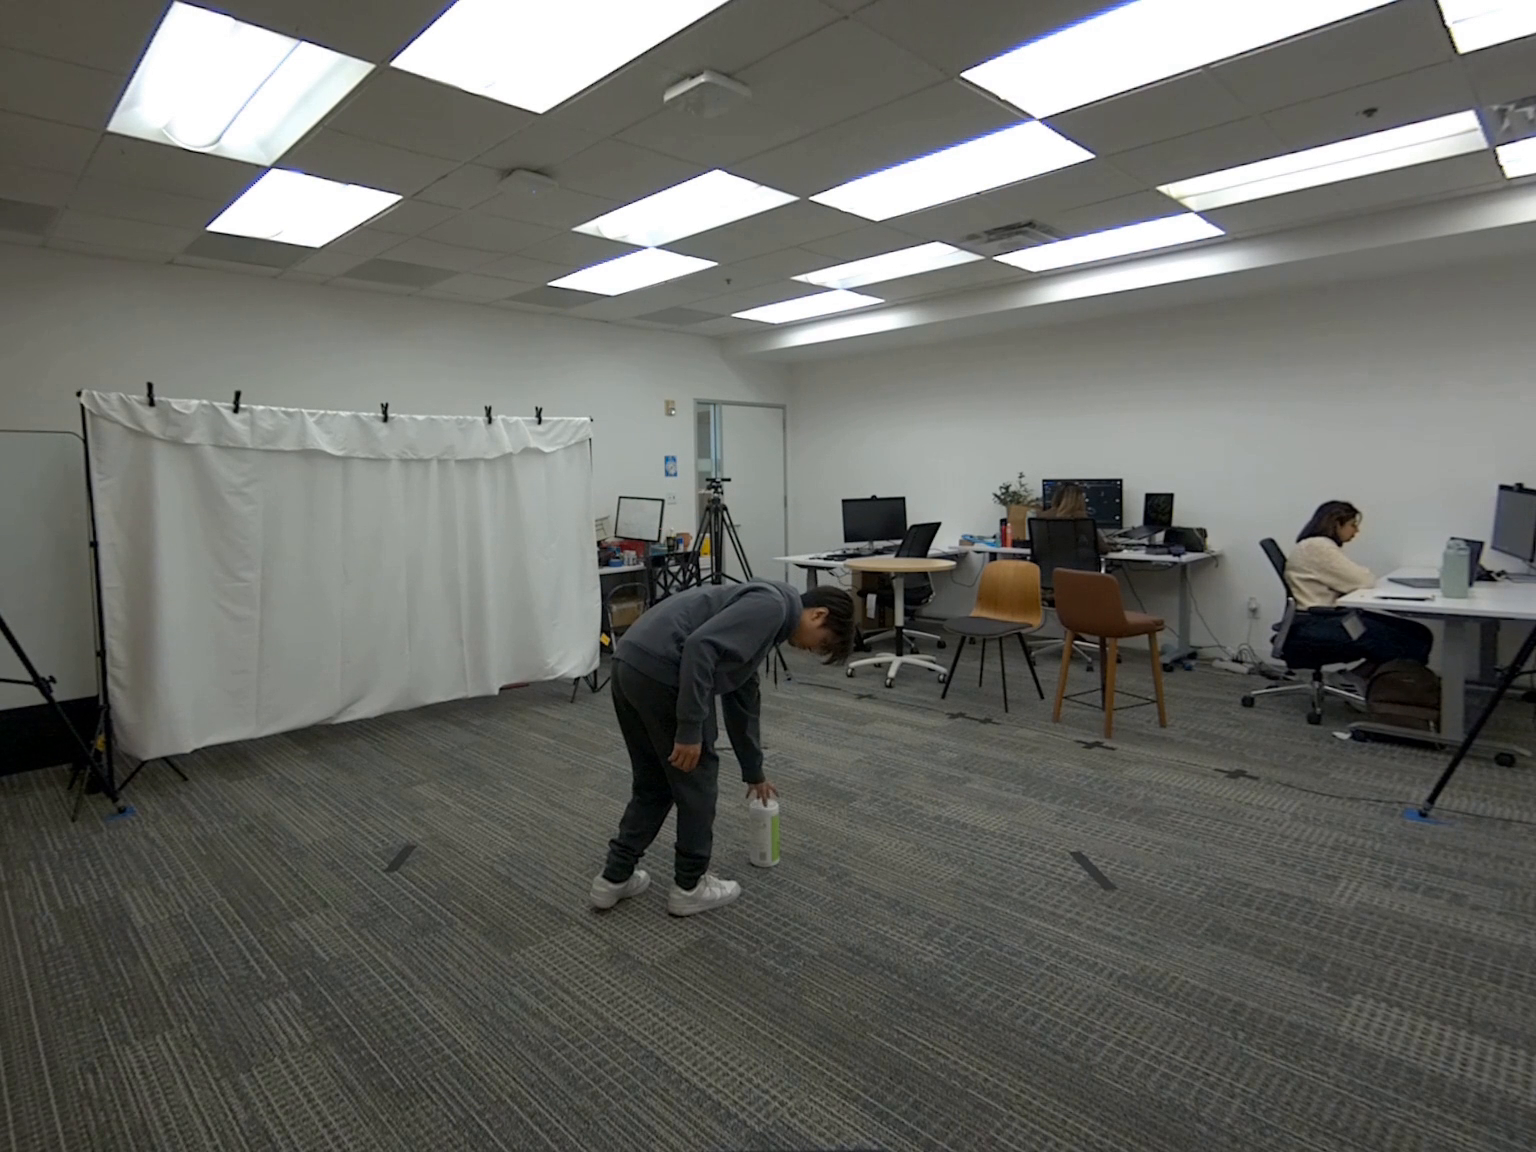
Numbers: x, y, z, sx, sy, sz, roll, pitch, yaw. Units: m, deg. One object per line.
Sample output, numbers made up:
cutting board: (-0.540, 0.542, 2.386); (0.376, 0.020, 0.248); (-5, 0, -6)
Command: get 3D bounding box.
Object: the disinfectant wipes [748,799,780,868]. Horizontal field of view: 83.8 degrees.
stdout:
disinfectant wipes: (-0.011, 0.936, 3.107); (0.118, 0.217, 0.118); (-1, 4, -2)
